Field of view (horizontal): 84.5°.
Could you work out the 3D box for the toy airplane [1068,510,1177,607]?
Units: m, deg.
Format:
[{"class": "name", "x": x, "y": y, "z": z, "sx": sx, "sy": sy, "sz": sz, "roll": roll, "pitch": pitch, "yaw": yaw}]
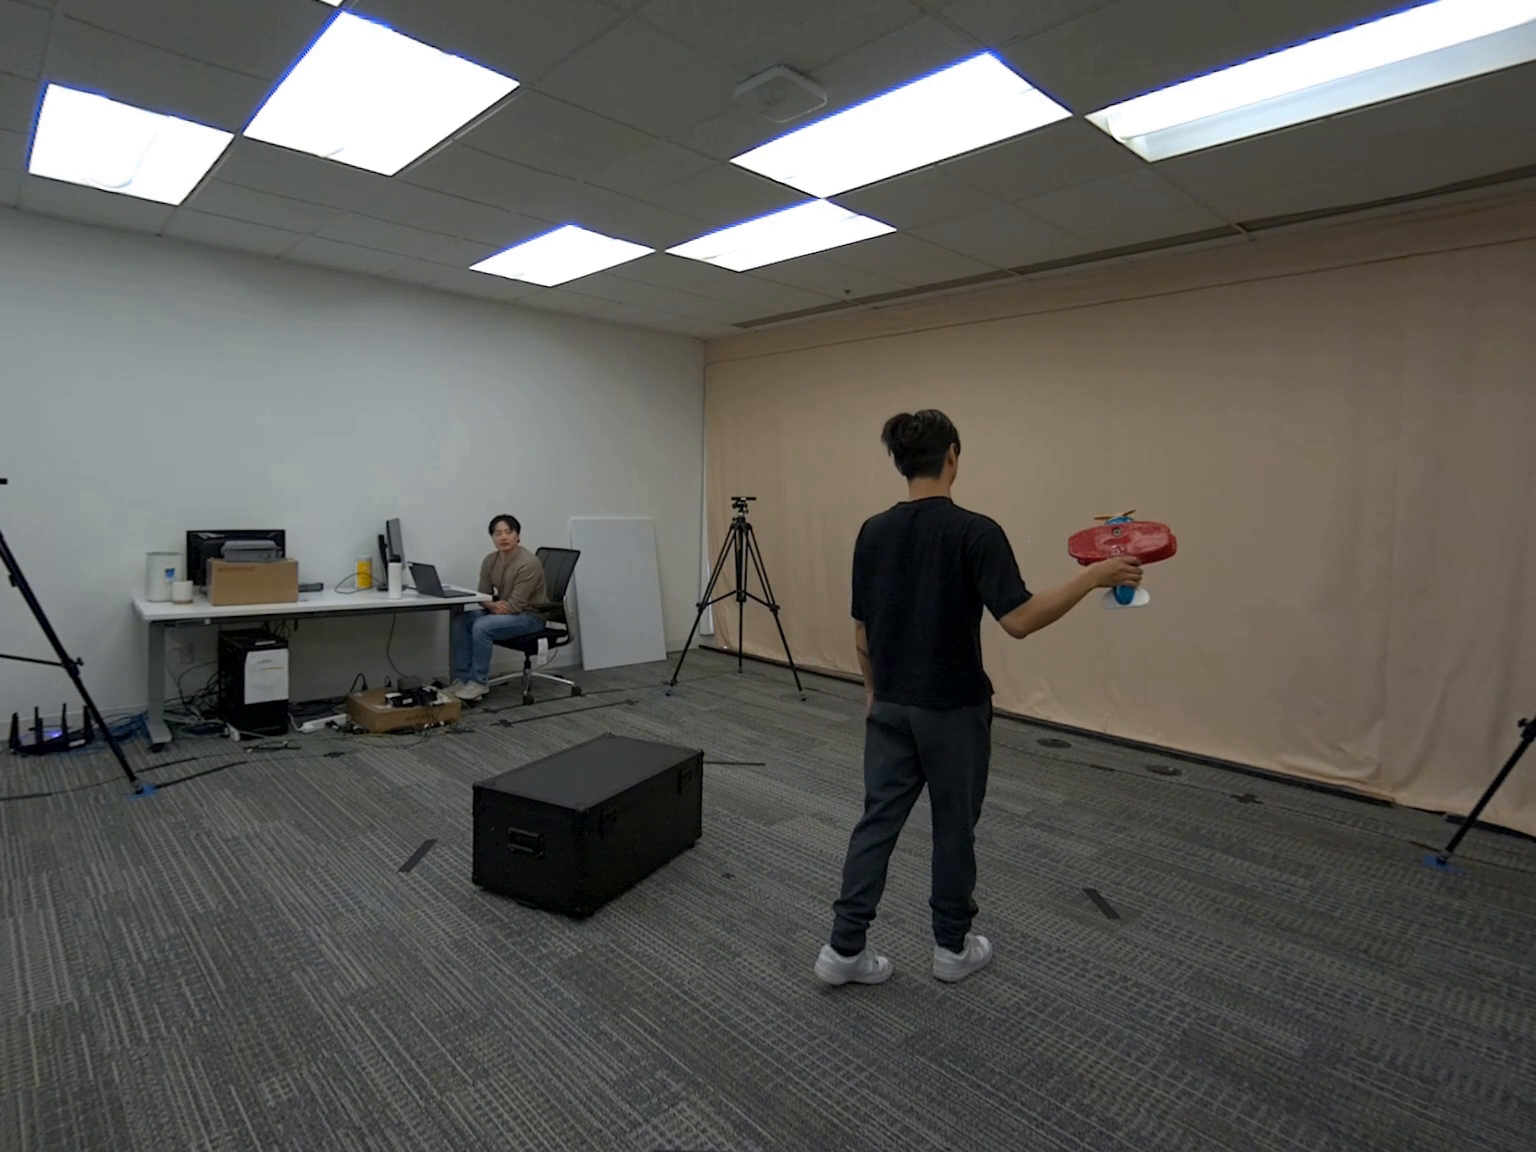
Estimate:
[{"class": "toy airplane", "x": 0.970, "y": -0.045, "z": 2.260, "sx": 0.252, "sy": 0.266, "sz": 0.151, "roll": -32, "pitch": -47, "yaw": 15}]
